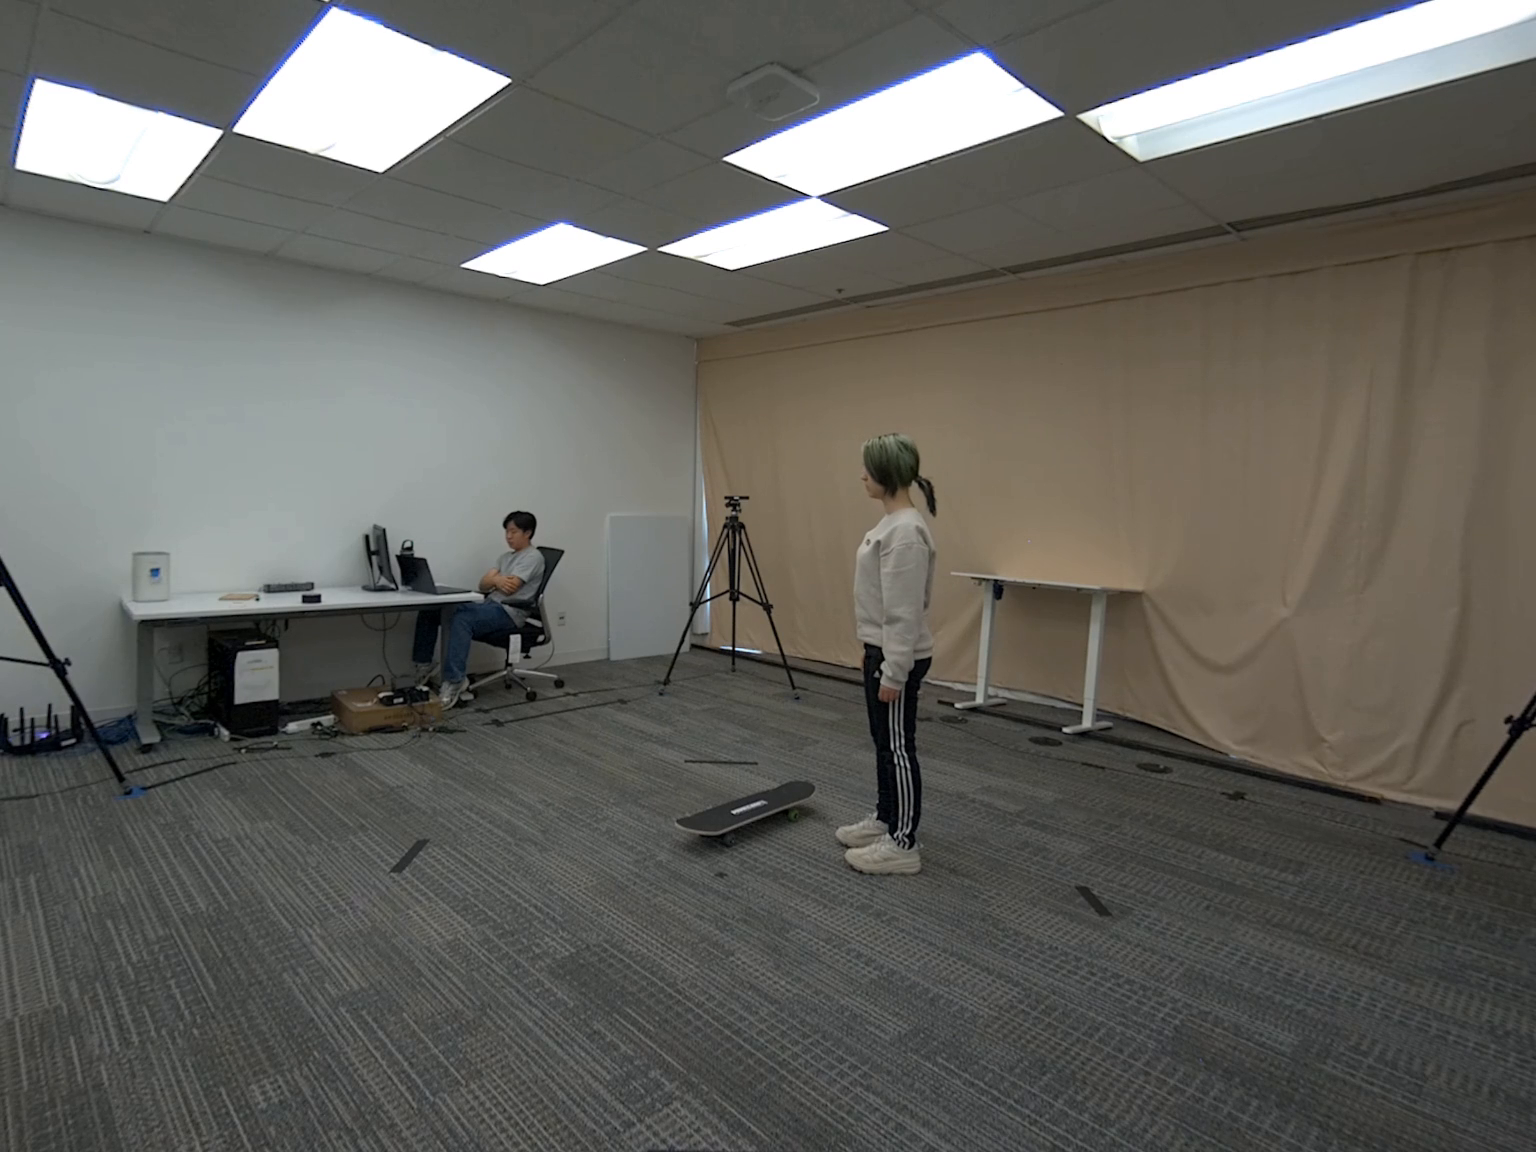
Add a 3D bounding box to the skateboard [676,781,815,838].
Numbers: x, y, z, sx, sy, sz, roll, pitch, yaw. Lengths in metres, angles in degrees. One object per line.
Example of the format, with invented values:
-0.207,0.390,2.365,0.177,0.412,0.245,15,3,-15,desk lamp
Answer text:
-0.085,1.008,3.556,0.198,0.110,0.768,6,7,42,skateboard
